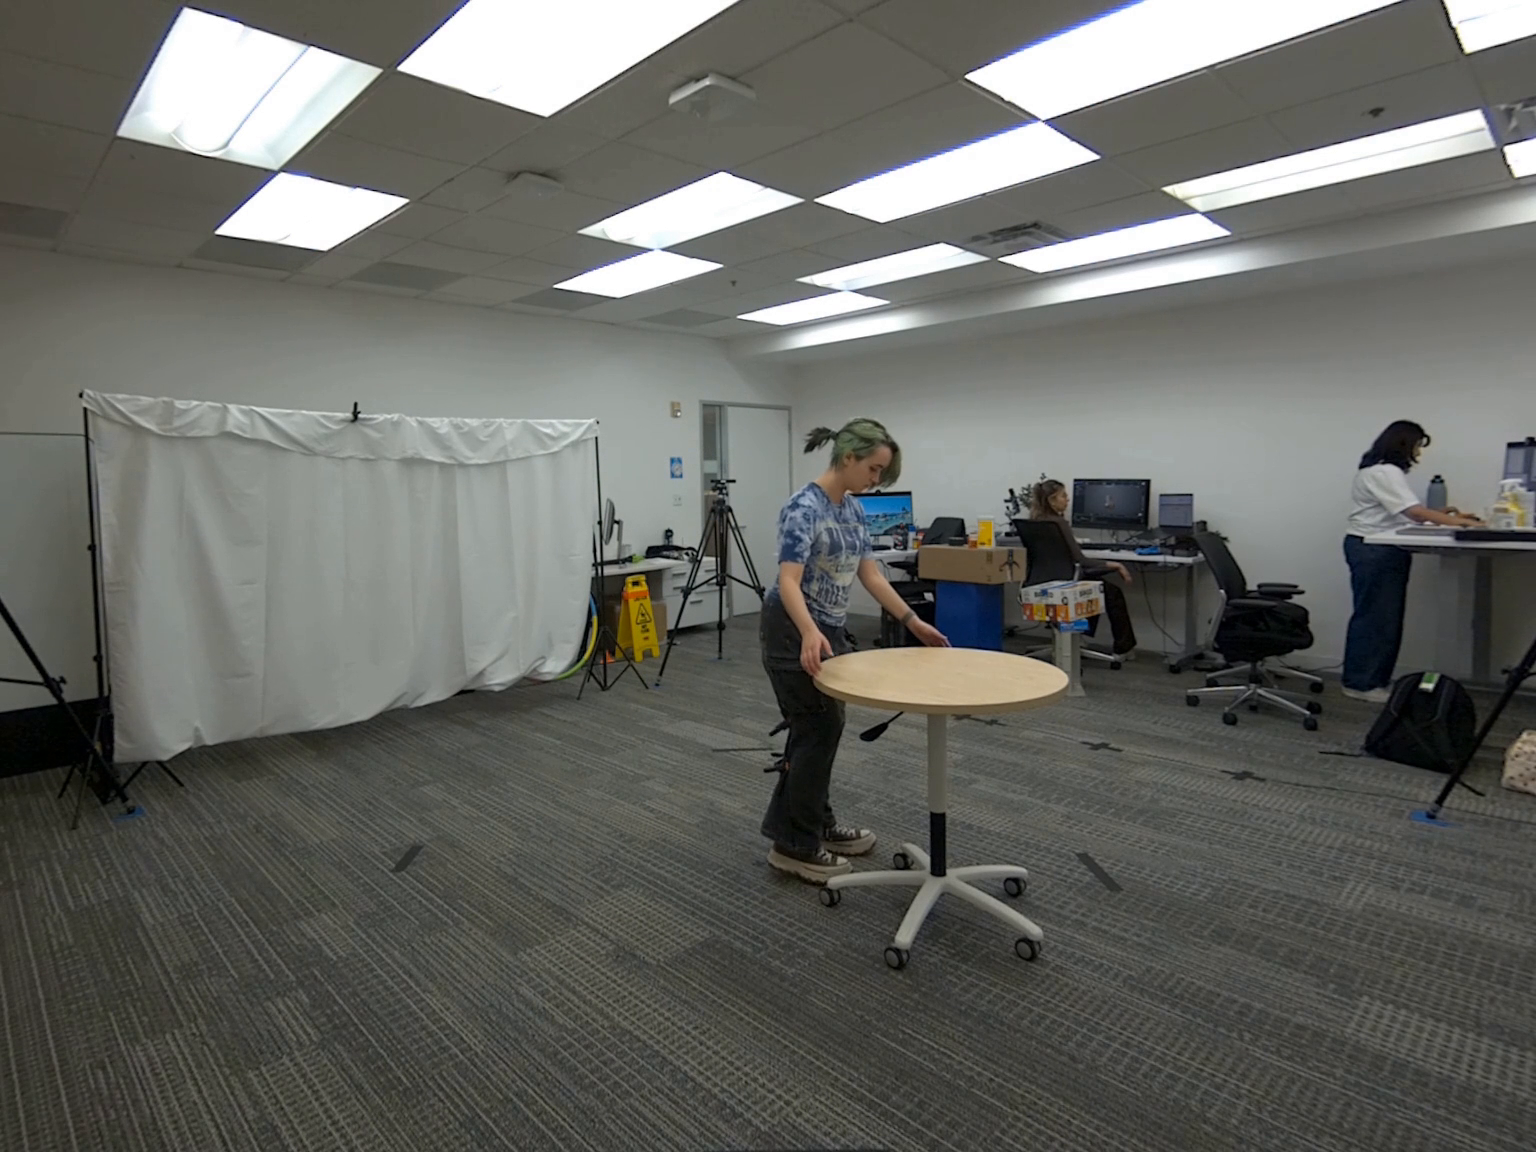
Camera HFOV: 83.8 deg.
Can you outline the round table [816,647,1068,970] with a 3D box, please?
[{"bbox_3d":[0.540,0.695,2.680,0.763,0.790,0.768,-1,5,-2],"label":"round table"}]
